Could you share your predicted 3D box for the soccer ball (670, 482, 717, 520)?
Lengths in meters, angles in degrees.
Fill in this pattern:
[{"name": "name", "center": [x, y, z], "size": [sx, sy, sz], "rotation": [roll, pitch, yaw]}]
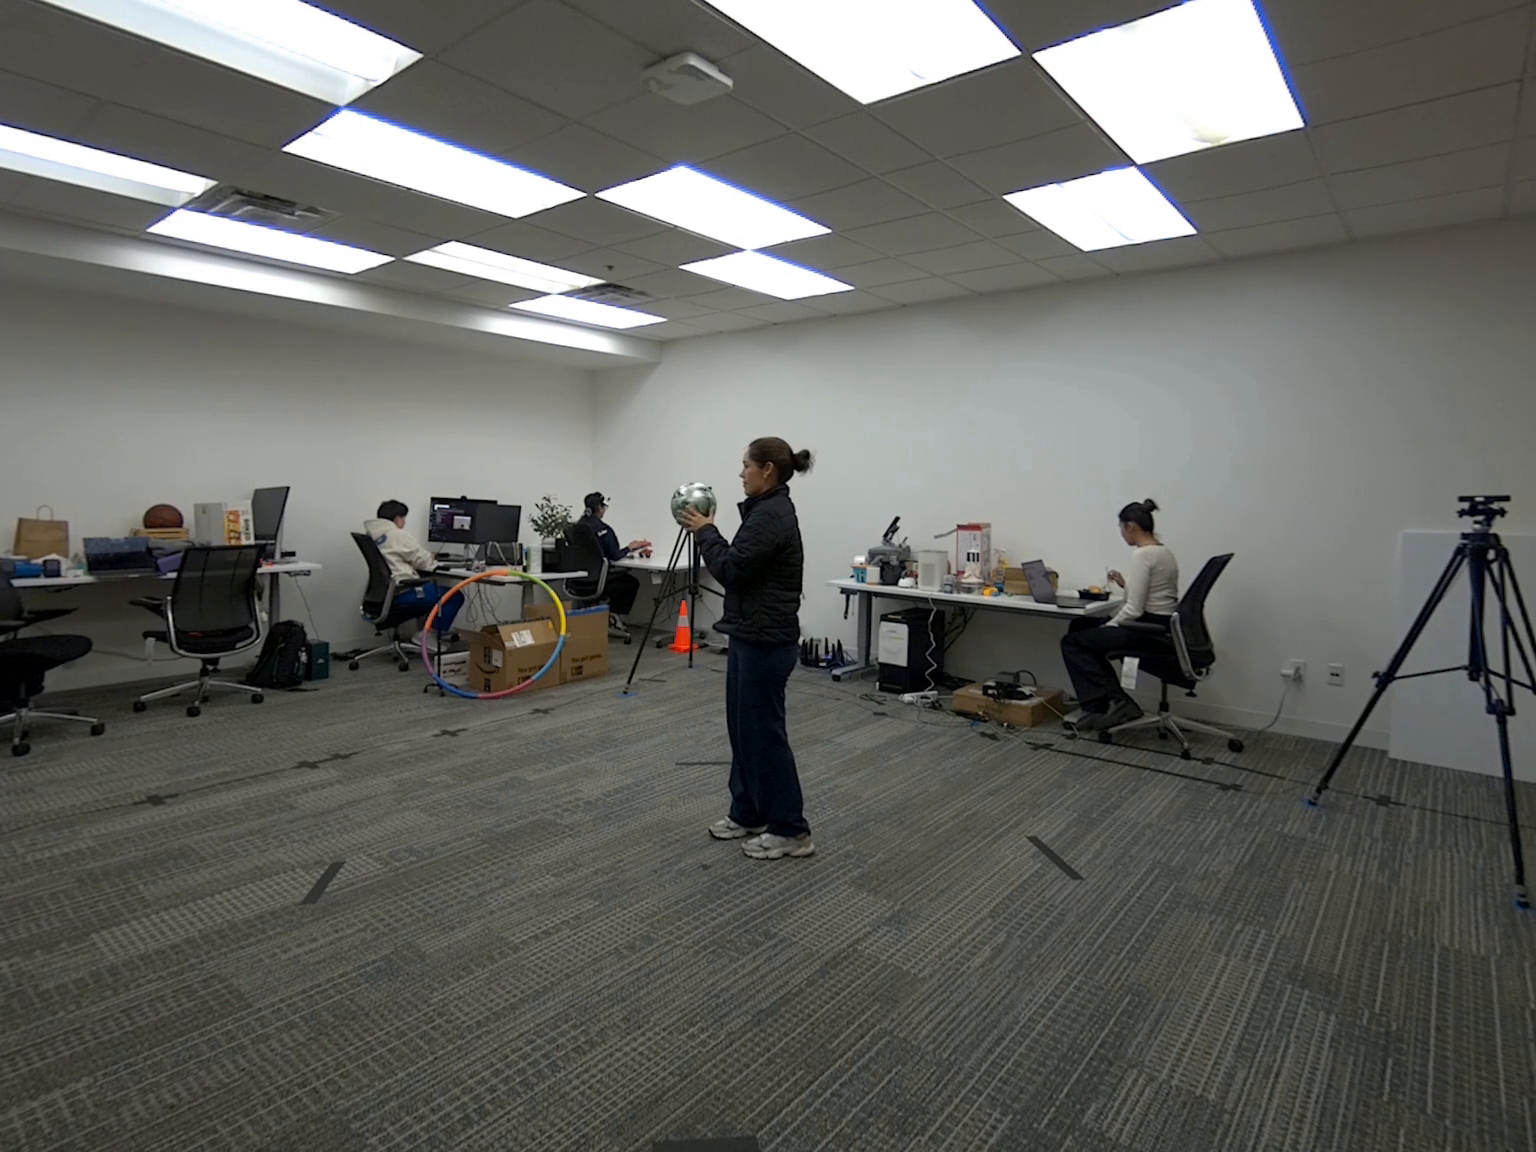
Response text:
[{"name": "soccer ball", "center": [-0.306, -0.280, 3.441], "size": [0.187, 0.187, 0.188], "rotation": [1, 4, -2]}]
